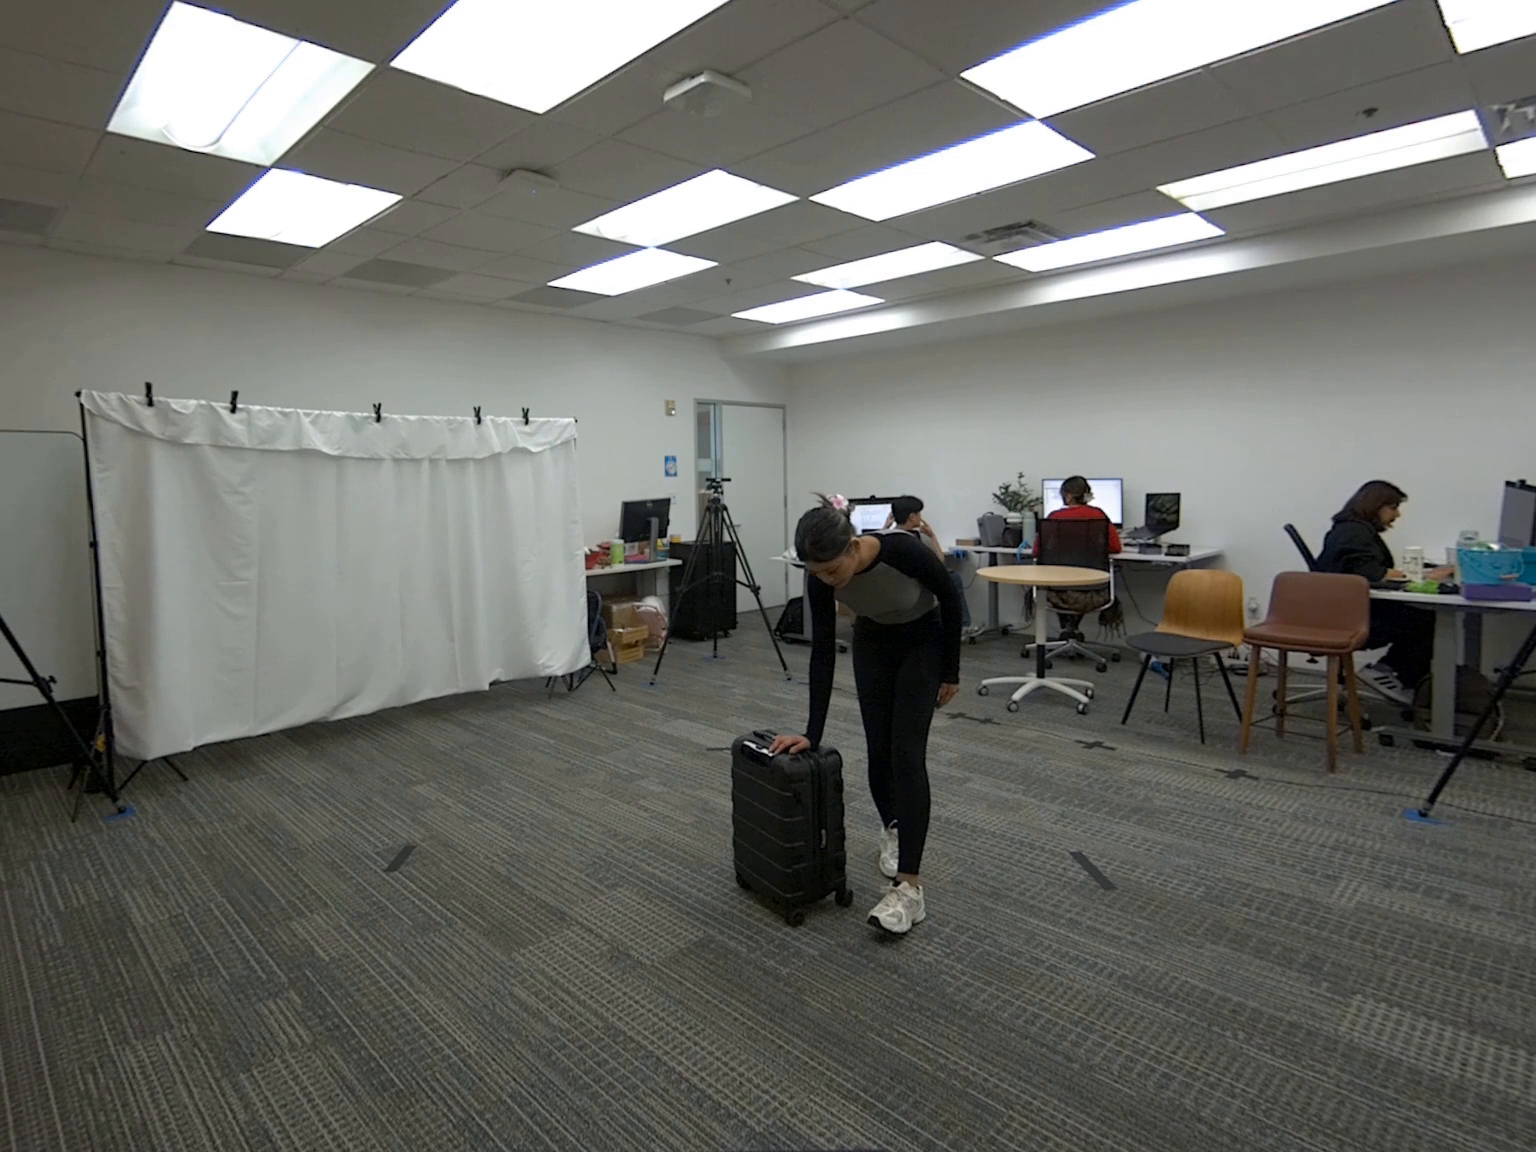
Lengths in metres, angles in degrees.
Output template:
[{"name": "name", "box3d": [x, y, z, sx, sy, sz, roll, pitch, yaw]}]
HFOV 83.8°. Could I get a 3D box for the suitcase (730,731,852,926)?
[{"name": "suitcase", "box3d": [0.067, 0.795, 2.828, 0.242, 0.547, 0.386, -5, 6, -34]}]
